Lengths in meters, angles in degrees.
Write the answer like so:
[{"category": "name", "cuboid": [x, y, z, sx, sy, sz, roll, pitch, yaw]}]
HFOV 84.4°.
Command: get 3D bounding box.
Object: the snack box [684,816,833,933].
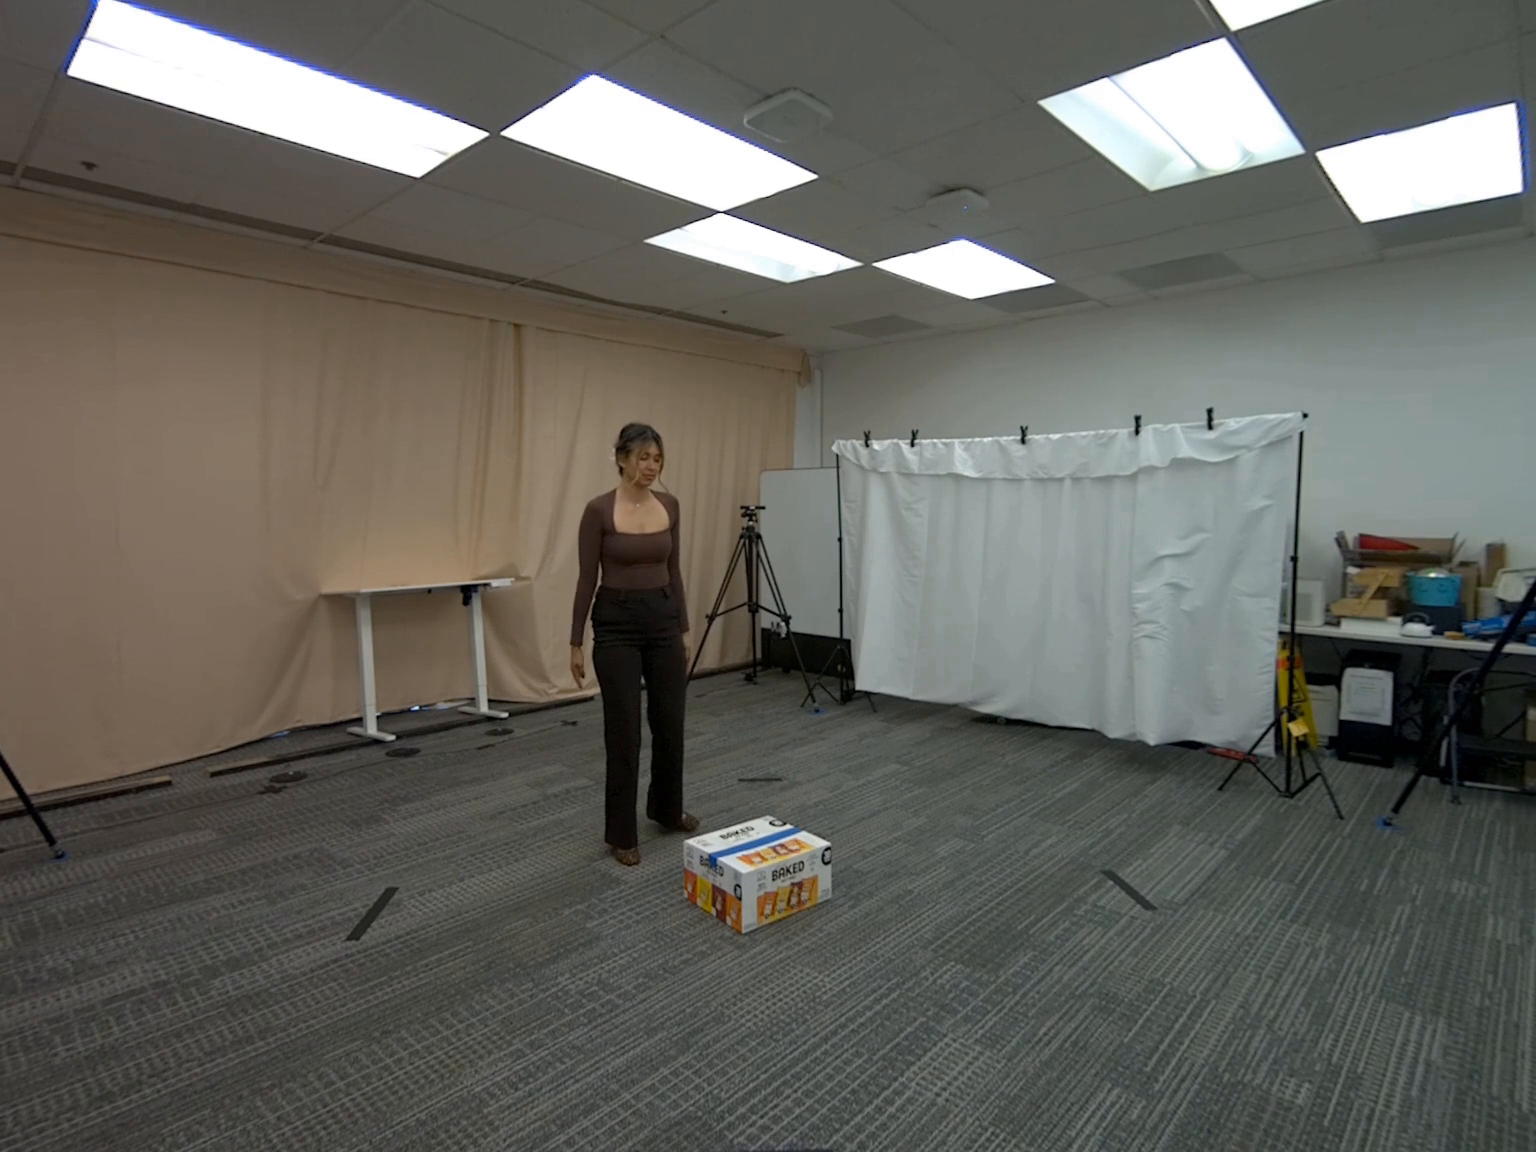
[{"category": "snack box", "cuboid": [-0.034, 1.043, 2.980, 0.393, 0.205, 0.351, -4, 6, -39]}]
